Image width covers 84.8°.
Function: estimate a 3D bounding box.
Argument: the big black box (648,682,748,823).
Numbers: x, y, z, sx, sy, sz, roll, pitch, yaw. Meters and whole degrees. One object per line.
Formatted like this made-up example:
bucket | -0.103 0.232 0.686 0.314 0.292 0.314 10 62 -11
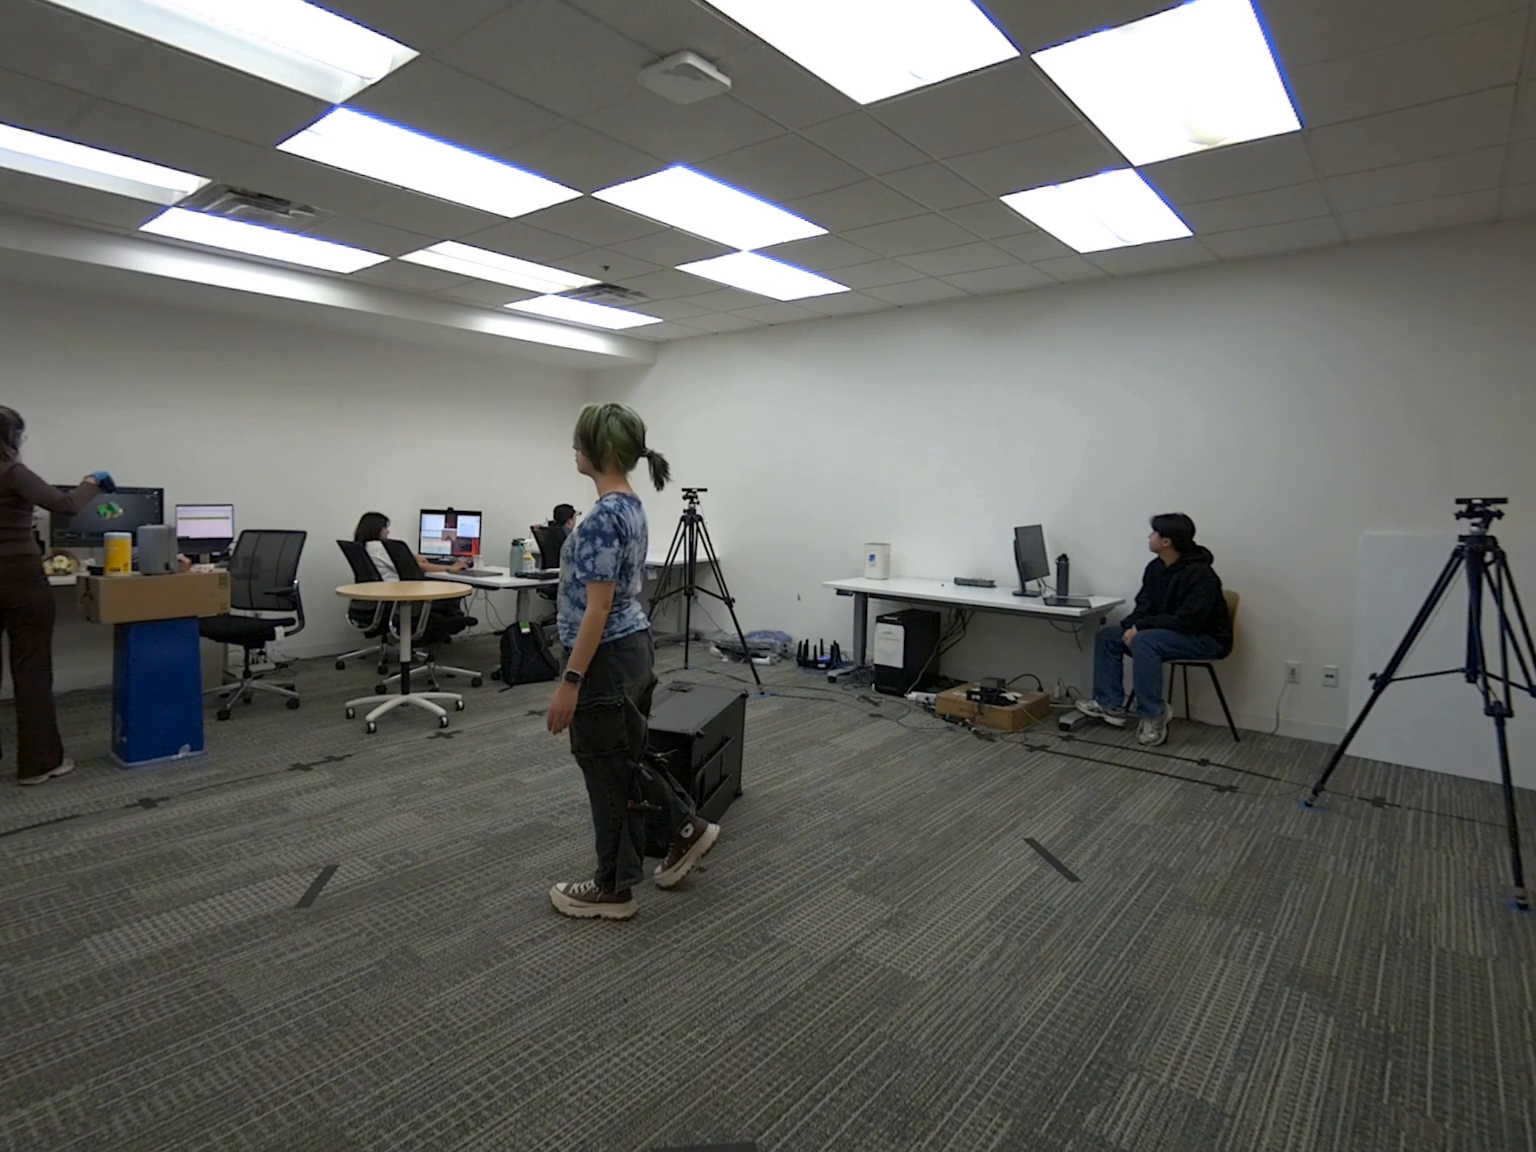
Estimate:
big black box | -0.357 0.764 3.597 0.403 0.519 0.851 4 6 13
